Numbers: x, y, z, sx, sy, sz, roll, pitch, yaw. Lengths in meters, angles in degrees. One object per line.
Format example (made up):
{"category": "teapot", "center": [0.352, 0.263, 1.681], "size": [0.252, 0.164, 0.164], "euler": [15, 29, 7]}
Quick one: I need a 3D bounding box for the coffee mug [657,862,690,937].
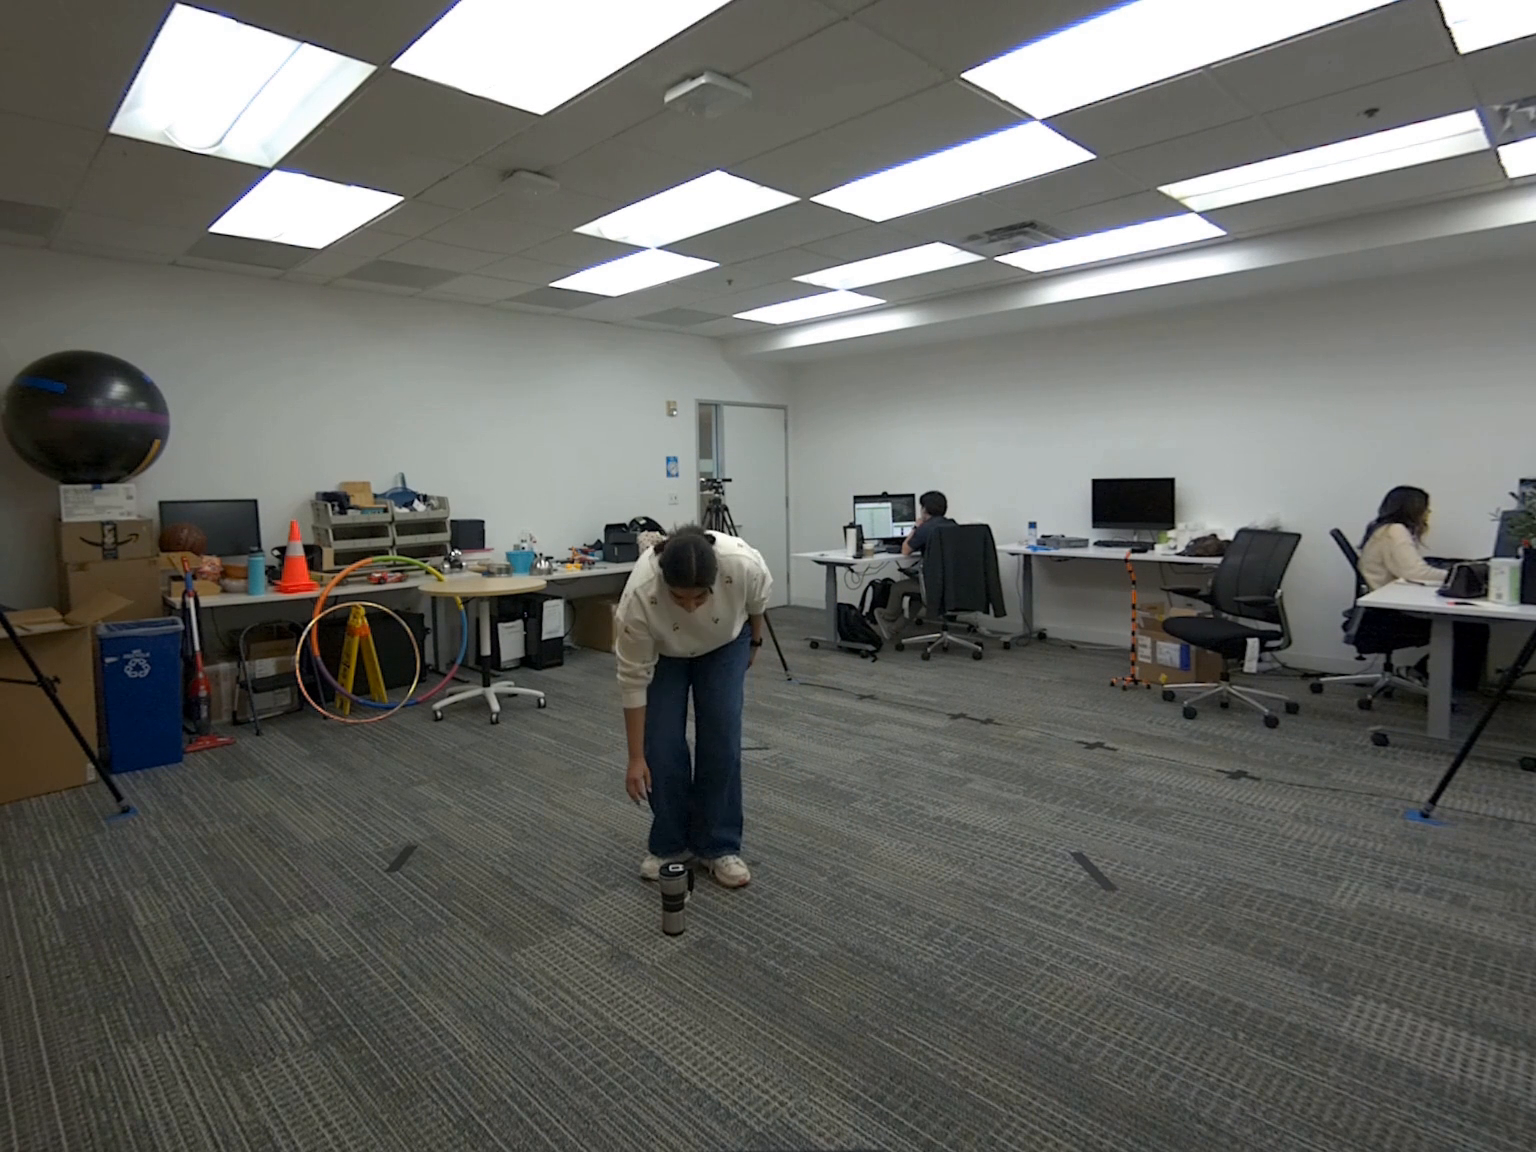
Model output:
{"category": "coffee mug", "center": [-0.271, 1.007, 2.656], "size": [0.119, 0.202, 0.090], "euler": [-7, 3, -35]}
